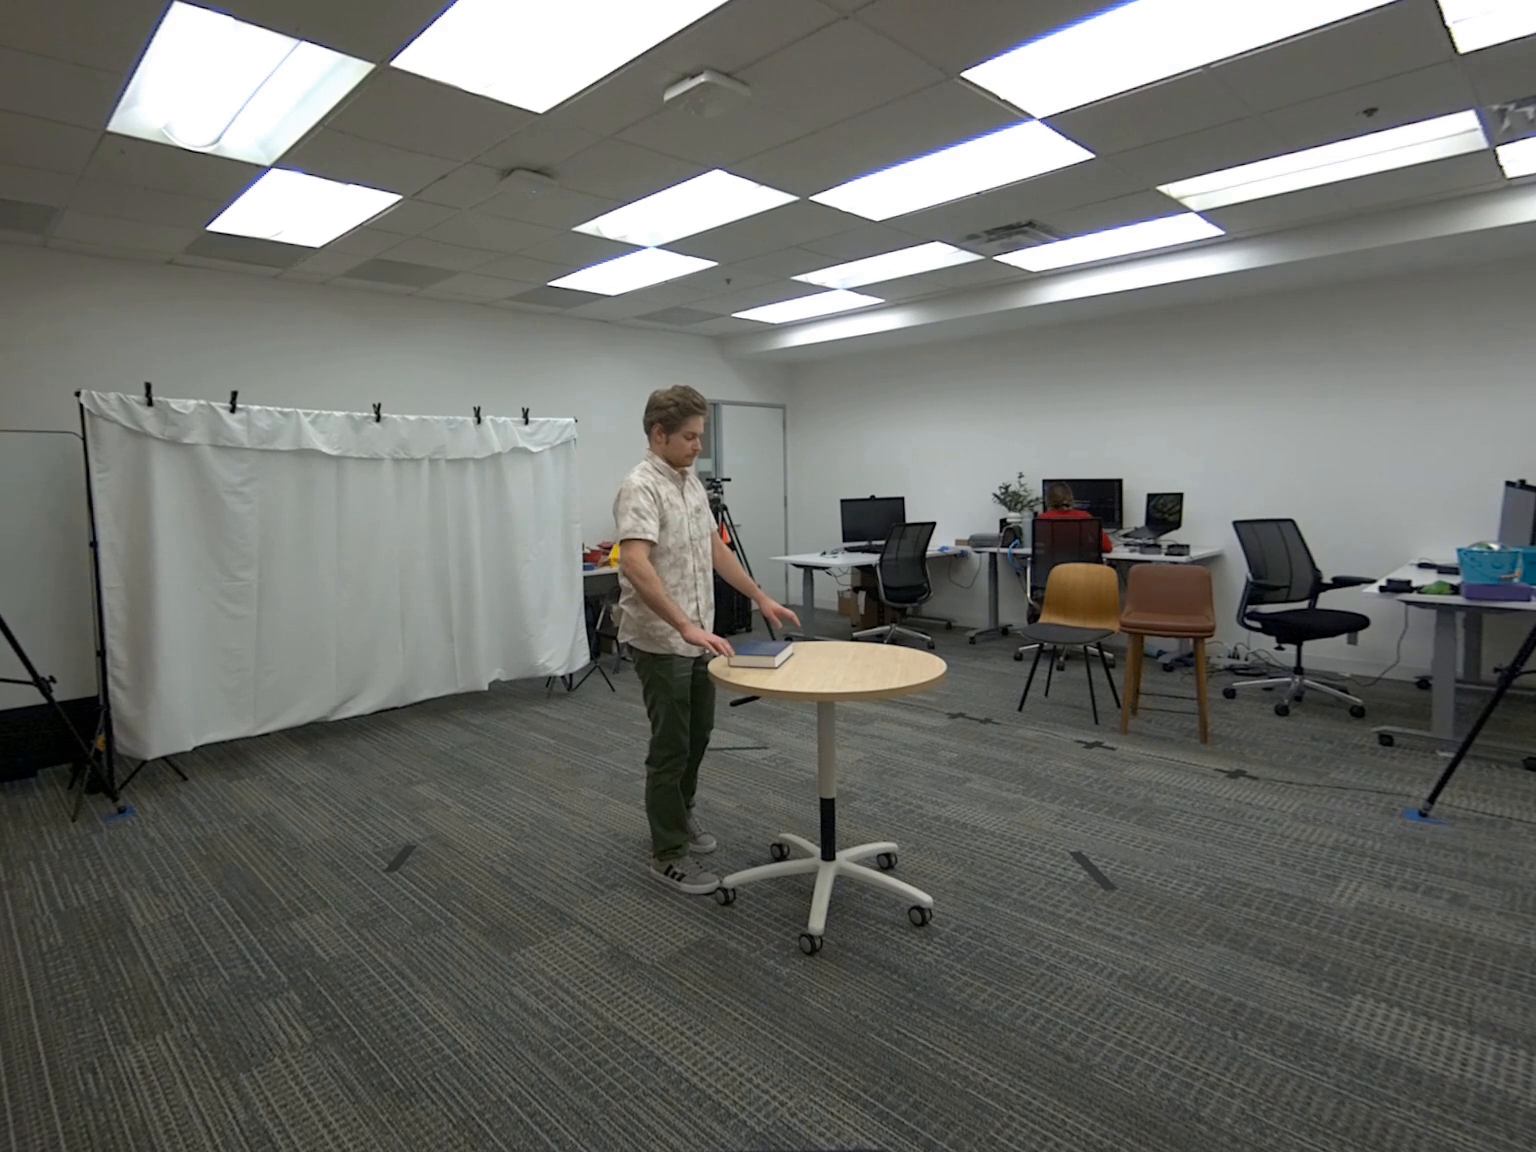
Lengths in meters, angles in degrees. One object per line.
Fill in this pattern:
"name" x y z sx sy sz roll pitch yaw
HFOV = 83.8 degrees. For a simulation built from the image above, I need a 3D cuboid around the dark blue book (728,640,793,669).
"dark blue book" -0.018 0.261 2.846 0.166 0.045 0.242 0 6 15
